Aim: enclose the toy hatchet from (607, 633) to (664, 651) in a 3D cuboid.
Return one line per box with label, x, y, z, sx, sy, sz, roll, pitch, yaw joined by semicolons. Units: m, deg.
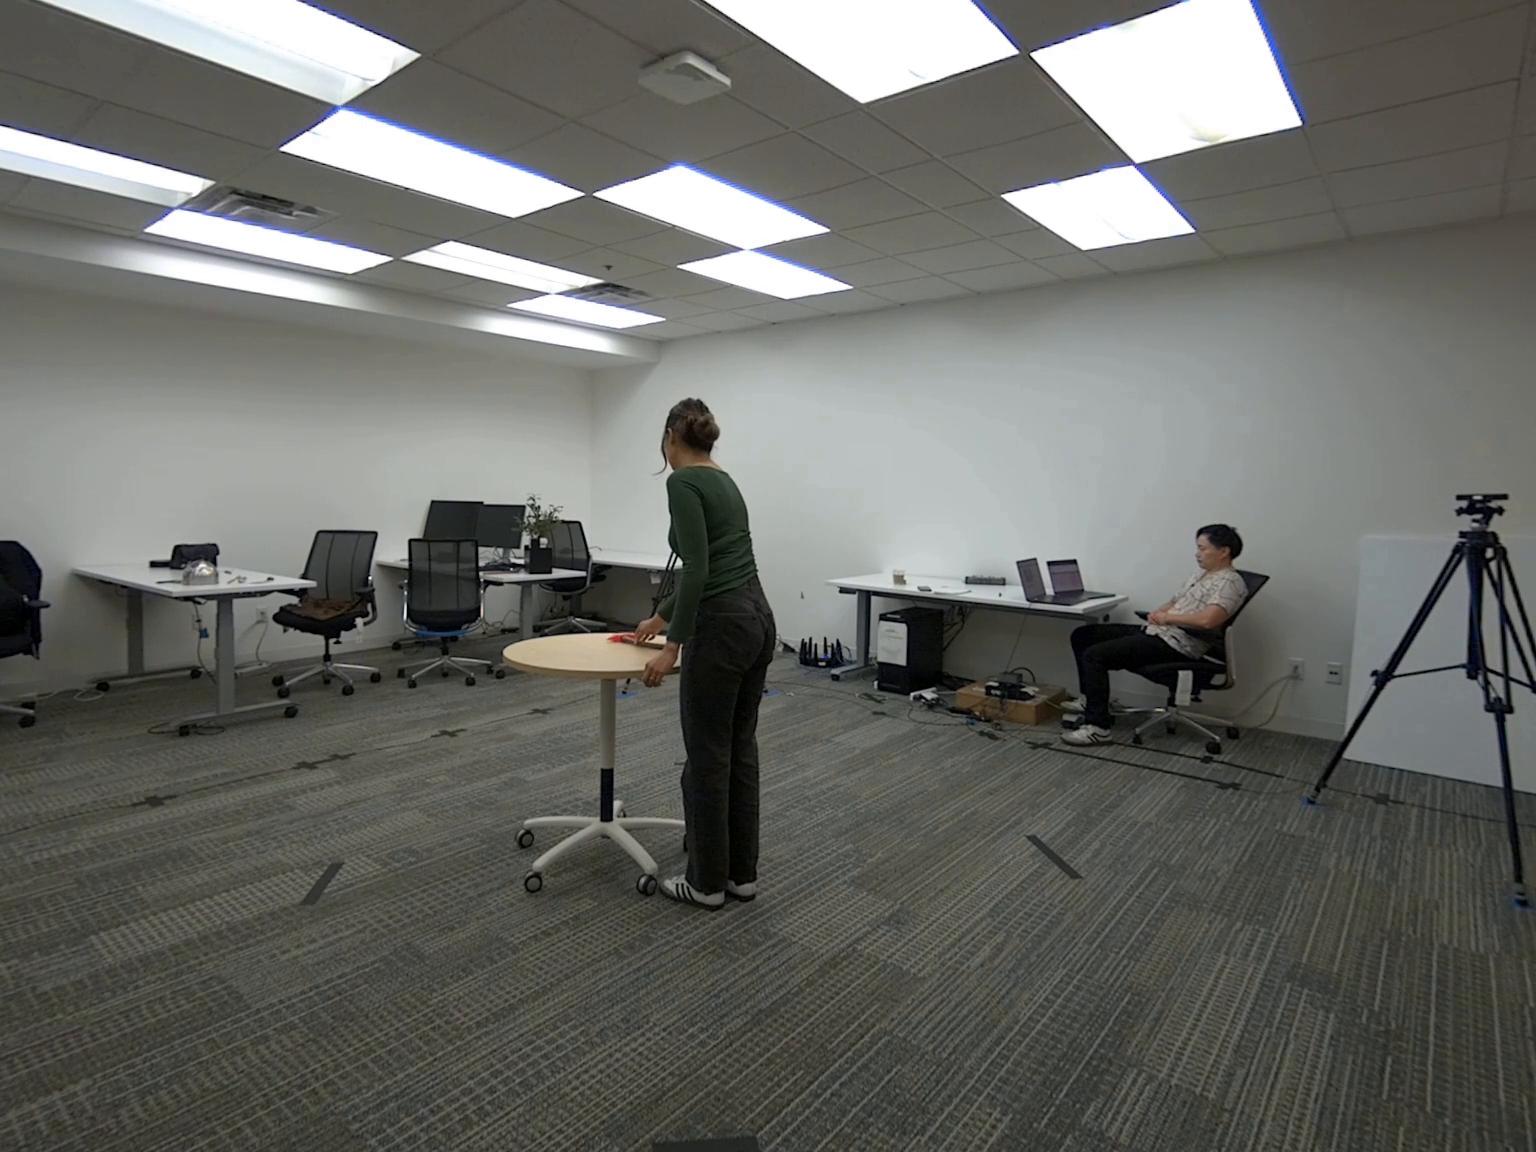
toy hatchet;-0.501;0.250;3.291;0.278;0.029;0.128;6;10;30
